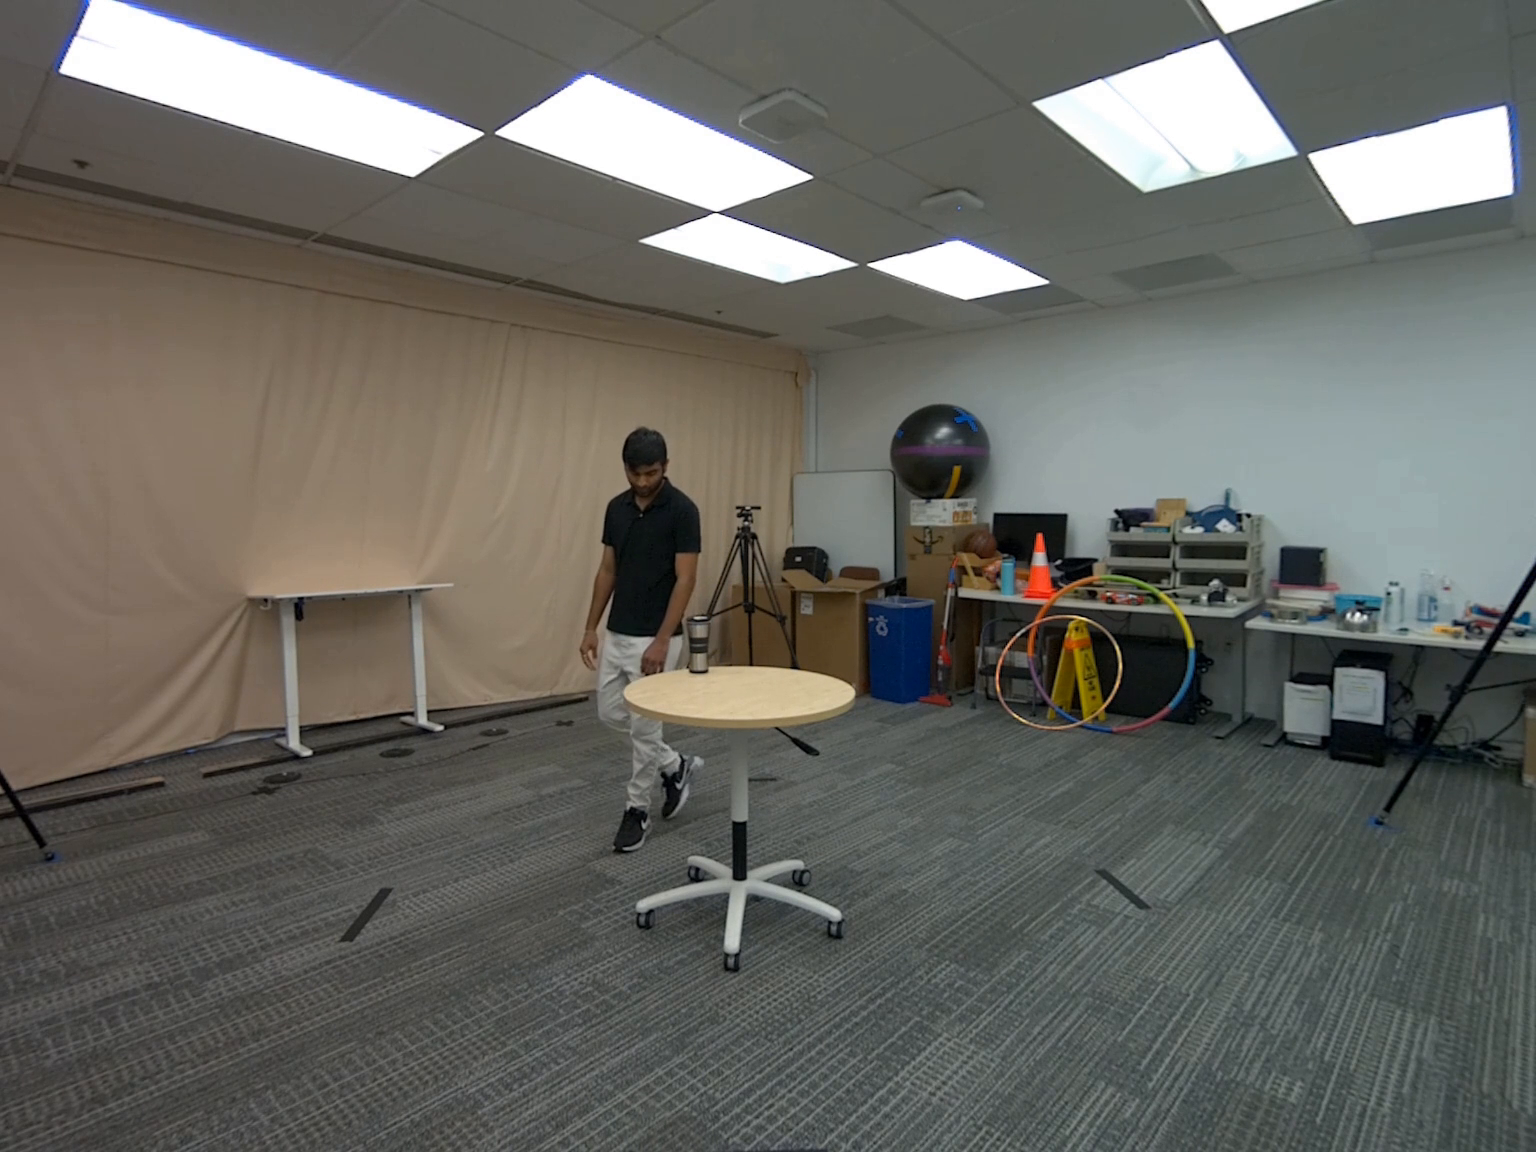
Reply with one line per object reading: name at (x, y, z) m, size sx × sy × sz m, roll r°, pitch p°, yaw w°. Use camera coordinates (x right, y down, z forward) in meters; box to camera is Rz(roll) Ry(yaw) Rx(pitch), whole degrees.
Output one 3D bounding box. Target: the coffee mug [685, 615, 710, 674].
coffee mug at (-0.242, 0.250, 3.094) m, size 0.090 × 0.202 × 0.119 m, roll -2°, pitch 6°, yaw 27°
